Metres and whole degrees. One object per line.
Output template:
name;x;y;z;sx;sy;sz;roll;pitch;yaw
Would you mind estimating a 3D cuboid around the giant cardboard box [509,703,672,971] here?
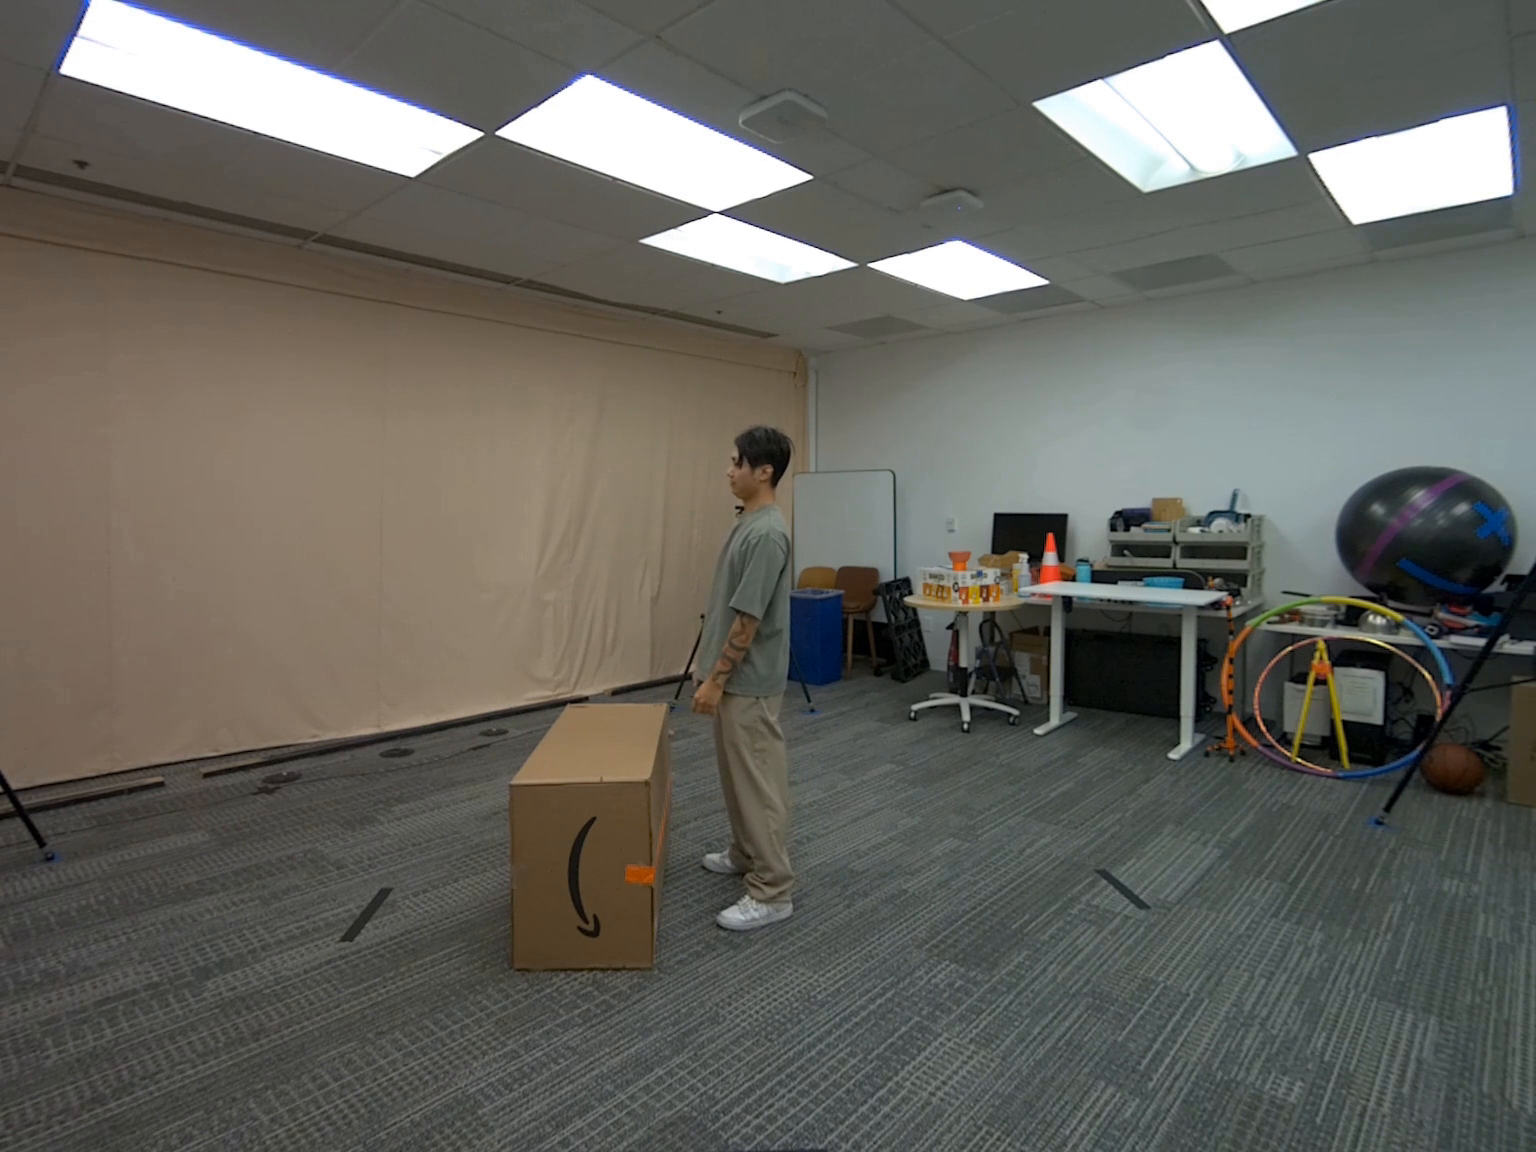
giant cardboard box;-0.590;0.851;3.019;0.425;0.576;1.031;0;4;-4
